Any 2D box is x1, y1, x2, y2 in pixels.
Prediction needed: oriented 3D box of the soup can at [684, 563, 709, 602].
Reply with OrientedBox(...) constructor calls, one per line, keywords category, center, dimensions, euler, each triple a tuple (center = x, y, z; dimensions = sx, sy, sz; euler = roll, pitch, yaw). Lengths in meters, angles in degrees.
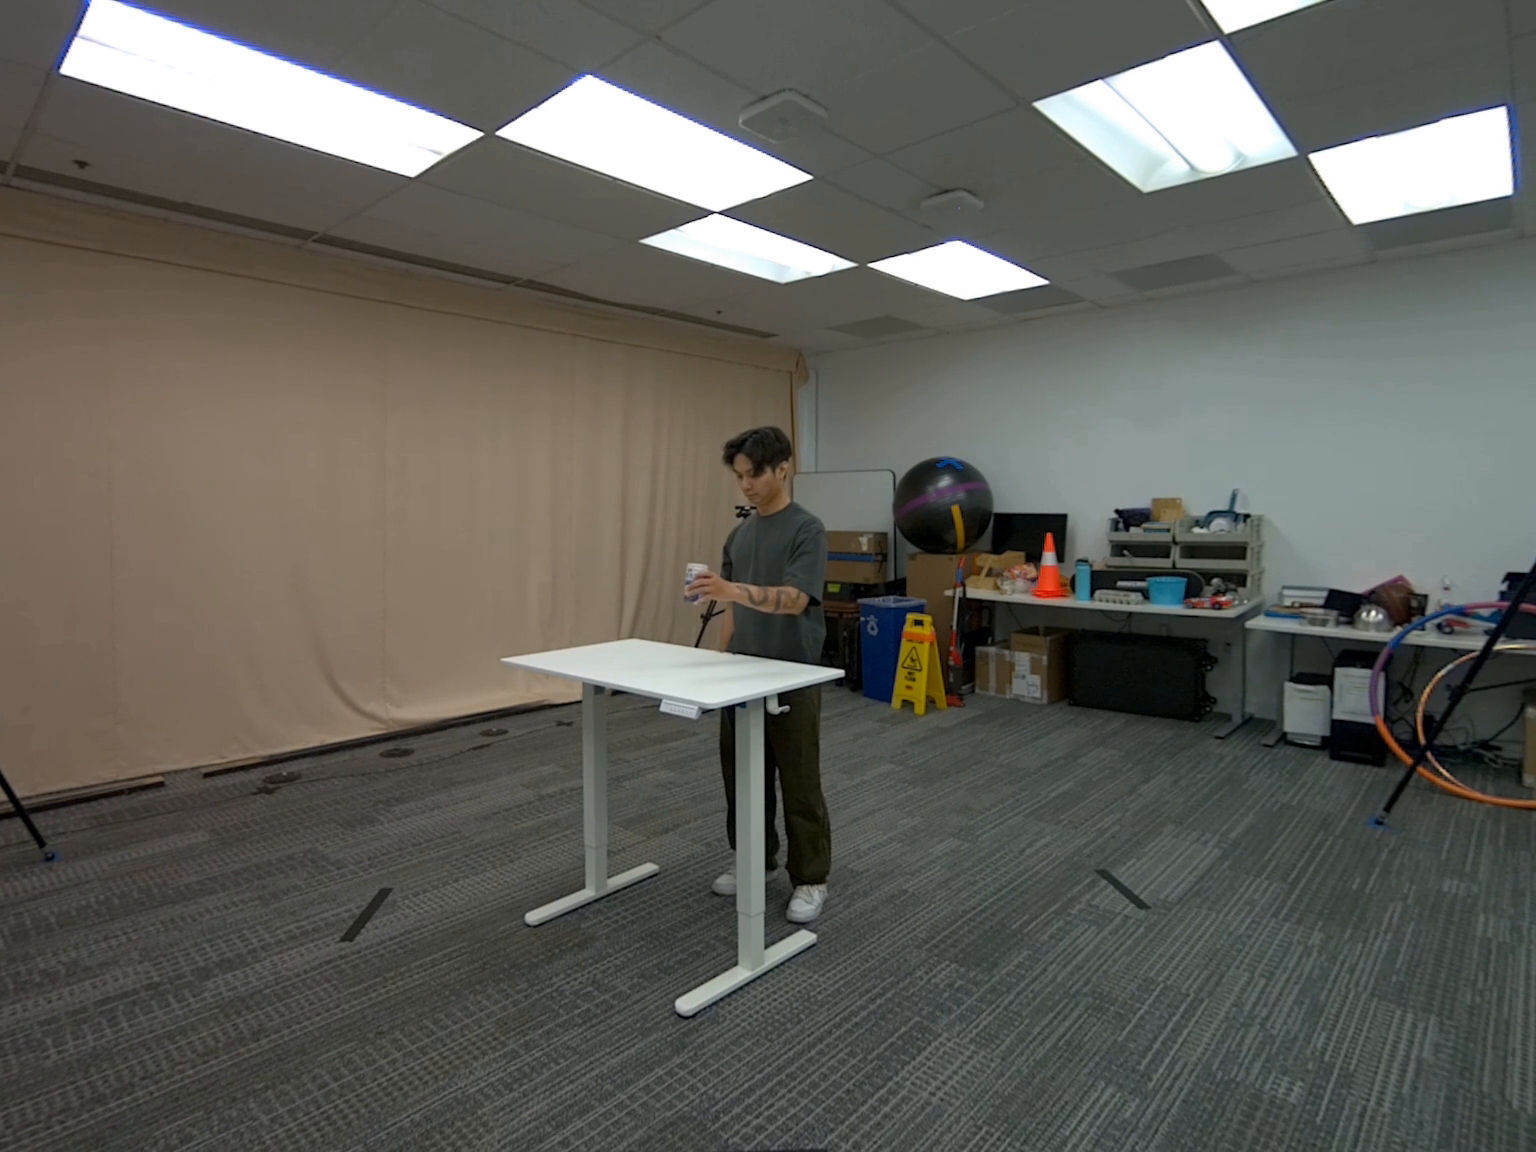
OrientedBox(category="soup can", center=(-0.216, 0.023, 2.577), dimensions=(0.067, 0.121, 0.067), euler=(2, 2, -2))
